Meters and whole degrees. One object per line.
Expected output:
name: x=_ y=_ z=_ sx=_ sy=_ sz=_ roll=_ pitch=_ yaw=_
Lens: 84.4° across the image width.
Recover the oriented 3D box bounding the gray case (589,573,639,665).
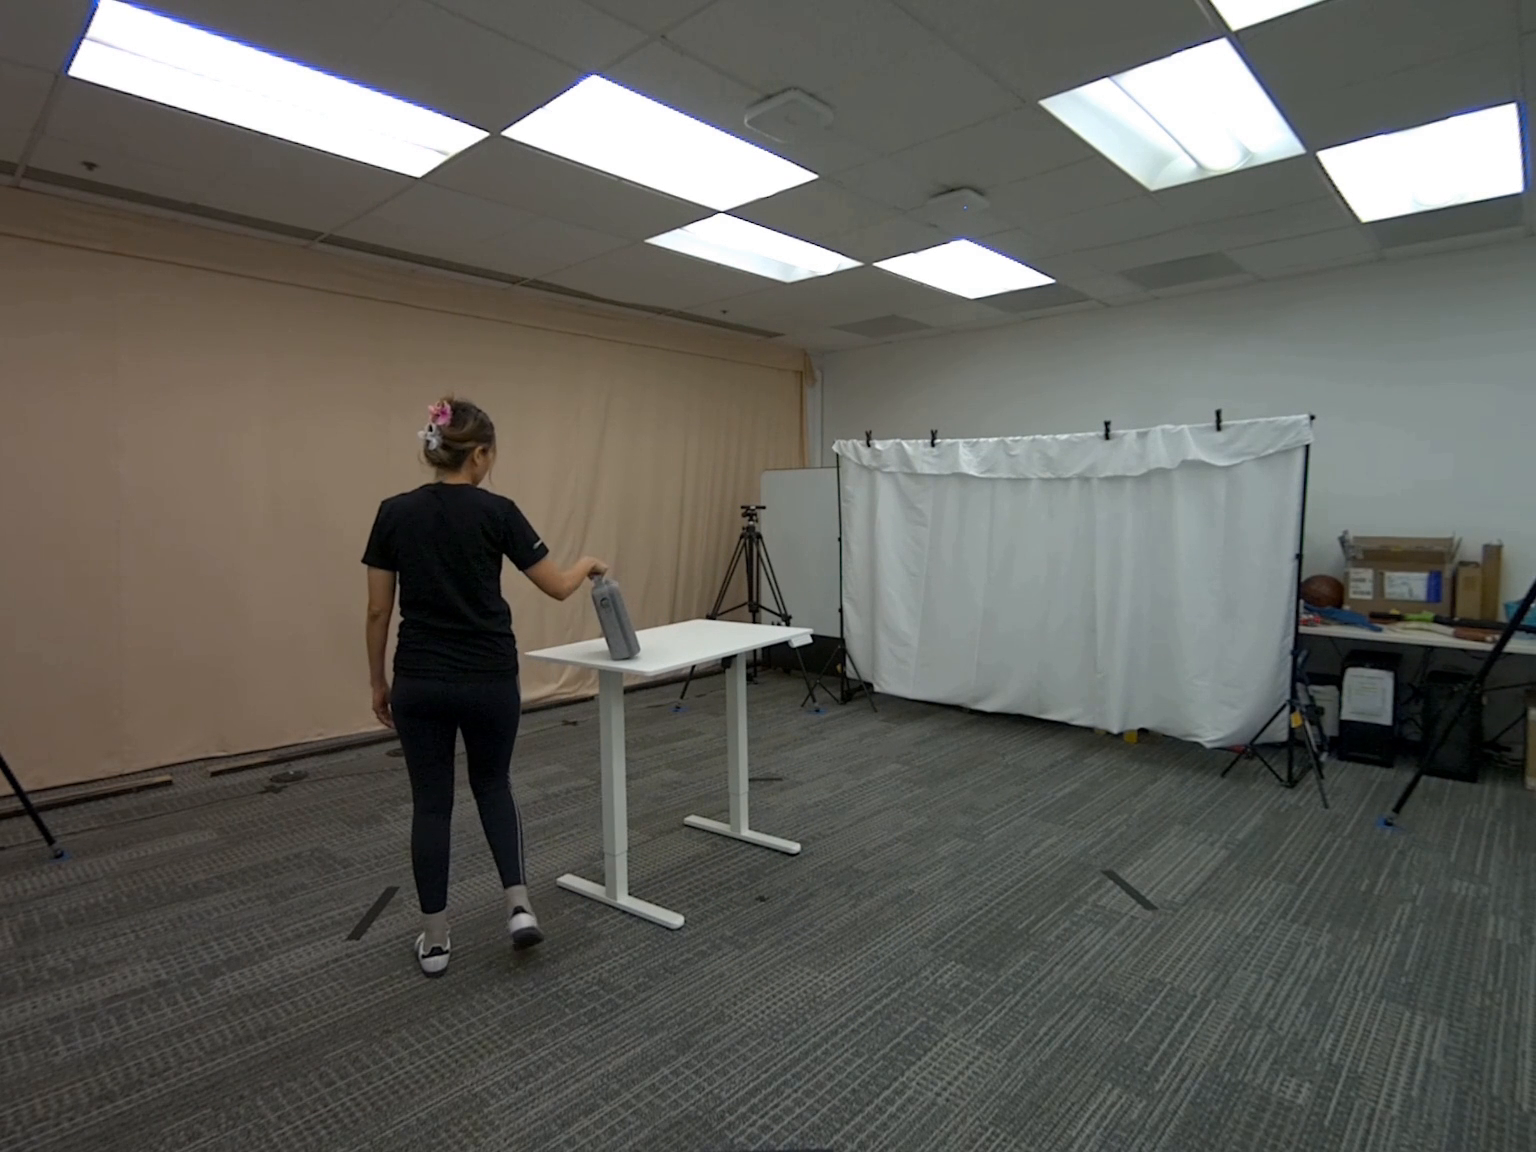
gray case: x=-0.525 y=0.139 z=2.902 sx=0.104 sy=0.260 sz=0.259 roll=-12 pitch=5 yaw=-7
